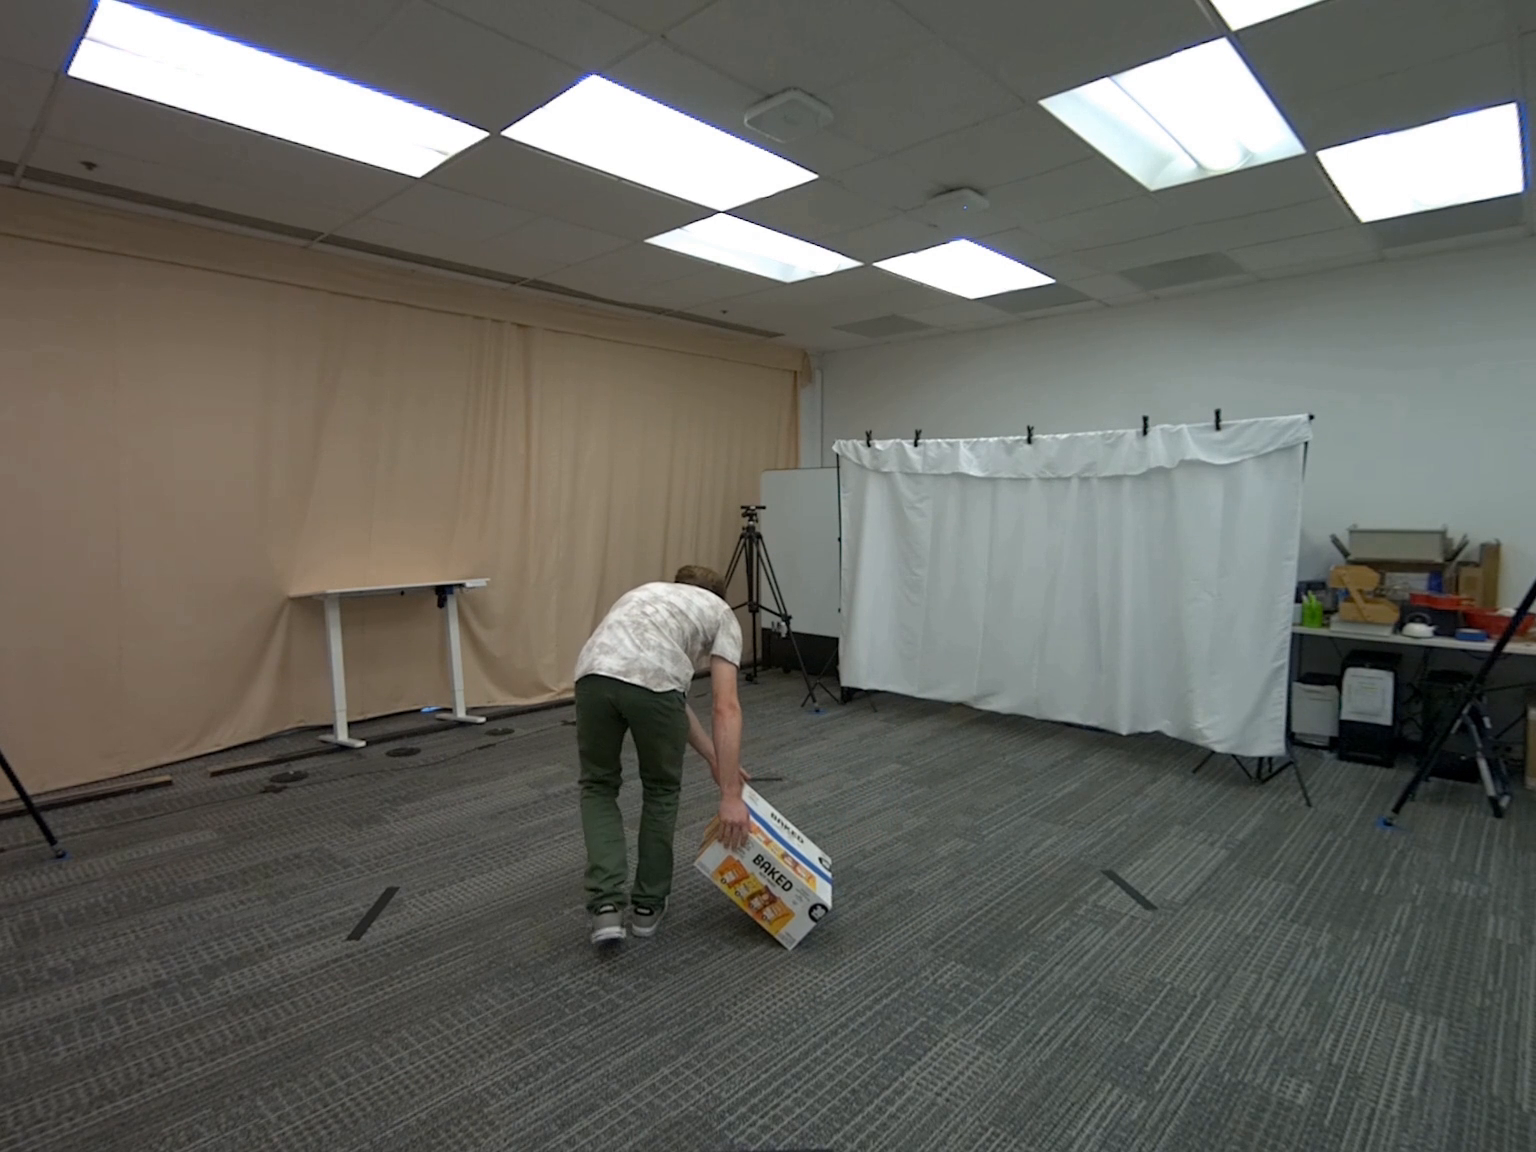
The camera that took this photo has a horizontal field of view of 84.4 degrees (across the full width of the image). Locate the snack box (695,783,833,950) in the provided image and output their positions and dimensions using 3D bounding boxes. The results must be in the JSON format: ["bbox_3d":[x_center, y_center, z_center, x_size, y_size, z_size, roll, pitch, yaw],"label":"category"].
[{"bbox_3d":[-0.002,0.953,2.793,0.406,0.206,0.339,41,8,2],"label":"snack box"}]
